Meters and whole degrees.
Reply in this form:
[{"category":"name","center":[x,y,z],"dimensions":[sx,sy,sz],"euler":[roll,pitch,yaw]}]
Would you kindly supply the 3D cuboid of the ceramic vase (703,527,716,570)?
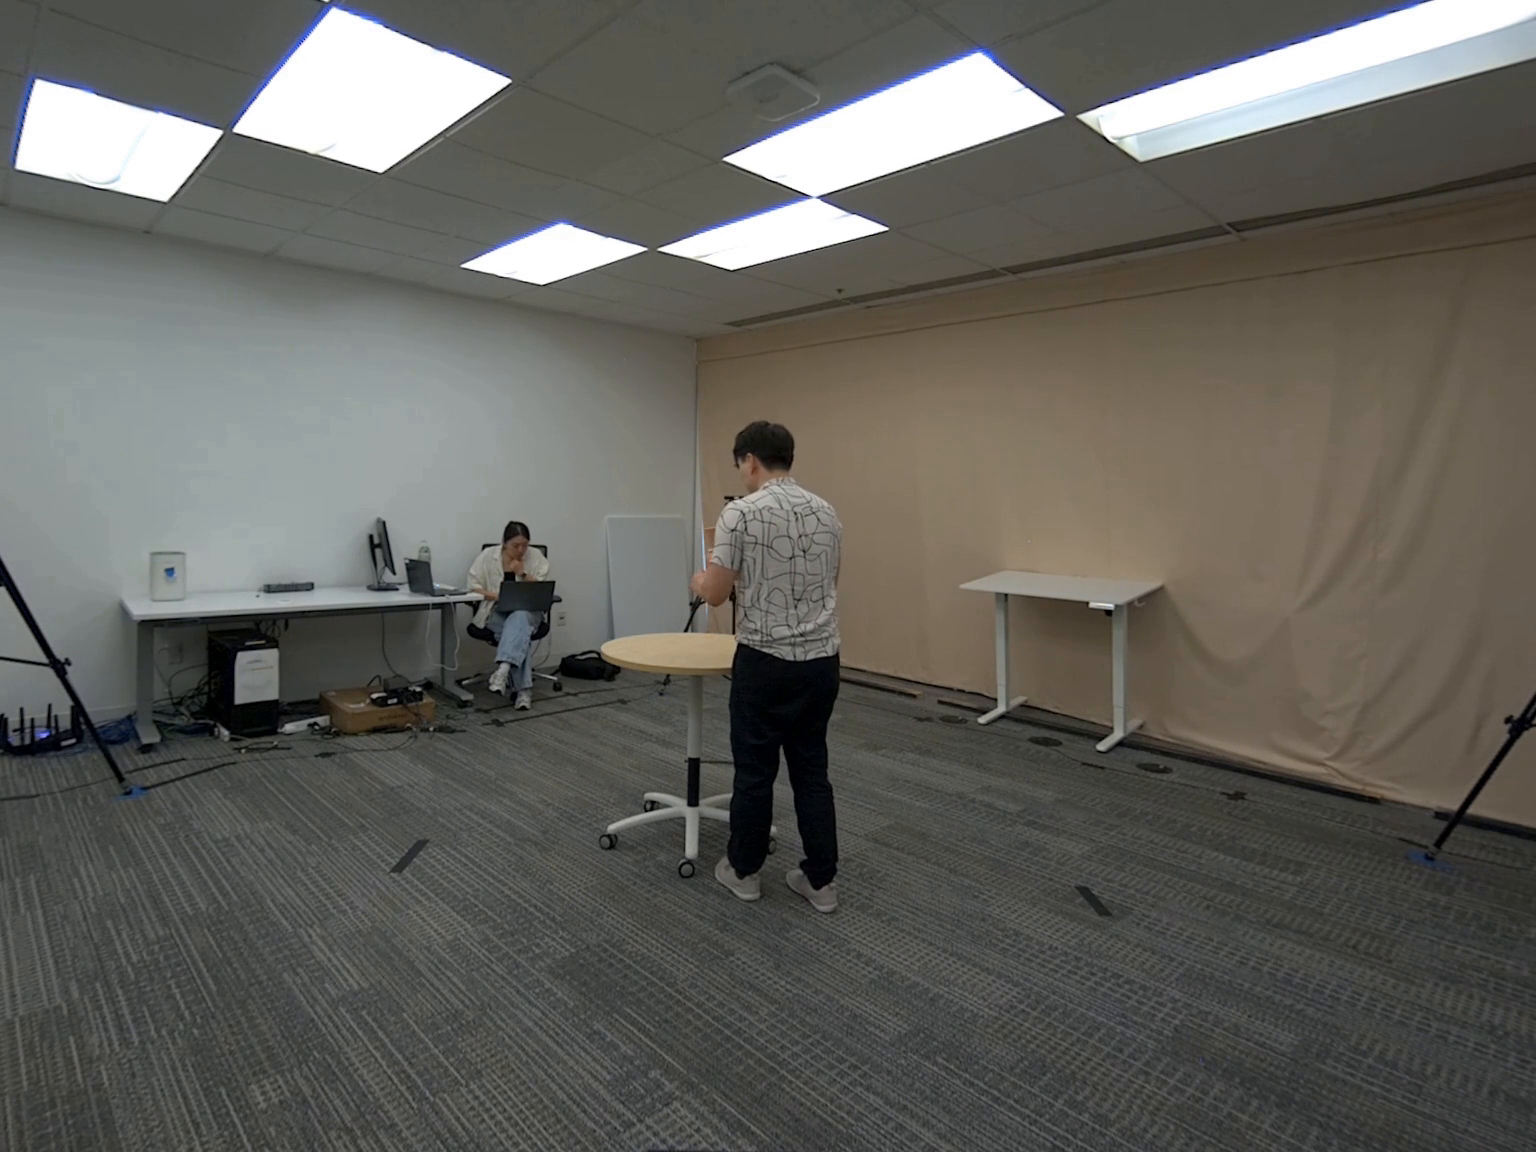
[{"category":"ceramic vase","center":[-0.179,-0.070,3.147],"dimensions":[0.136,0.219,0.158],"euler":[-11,4,14]}]
